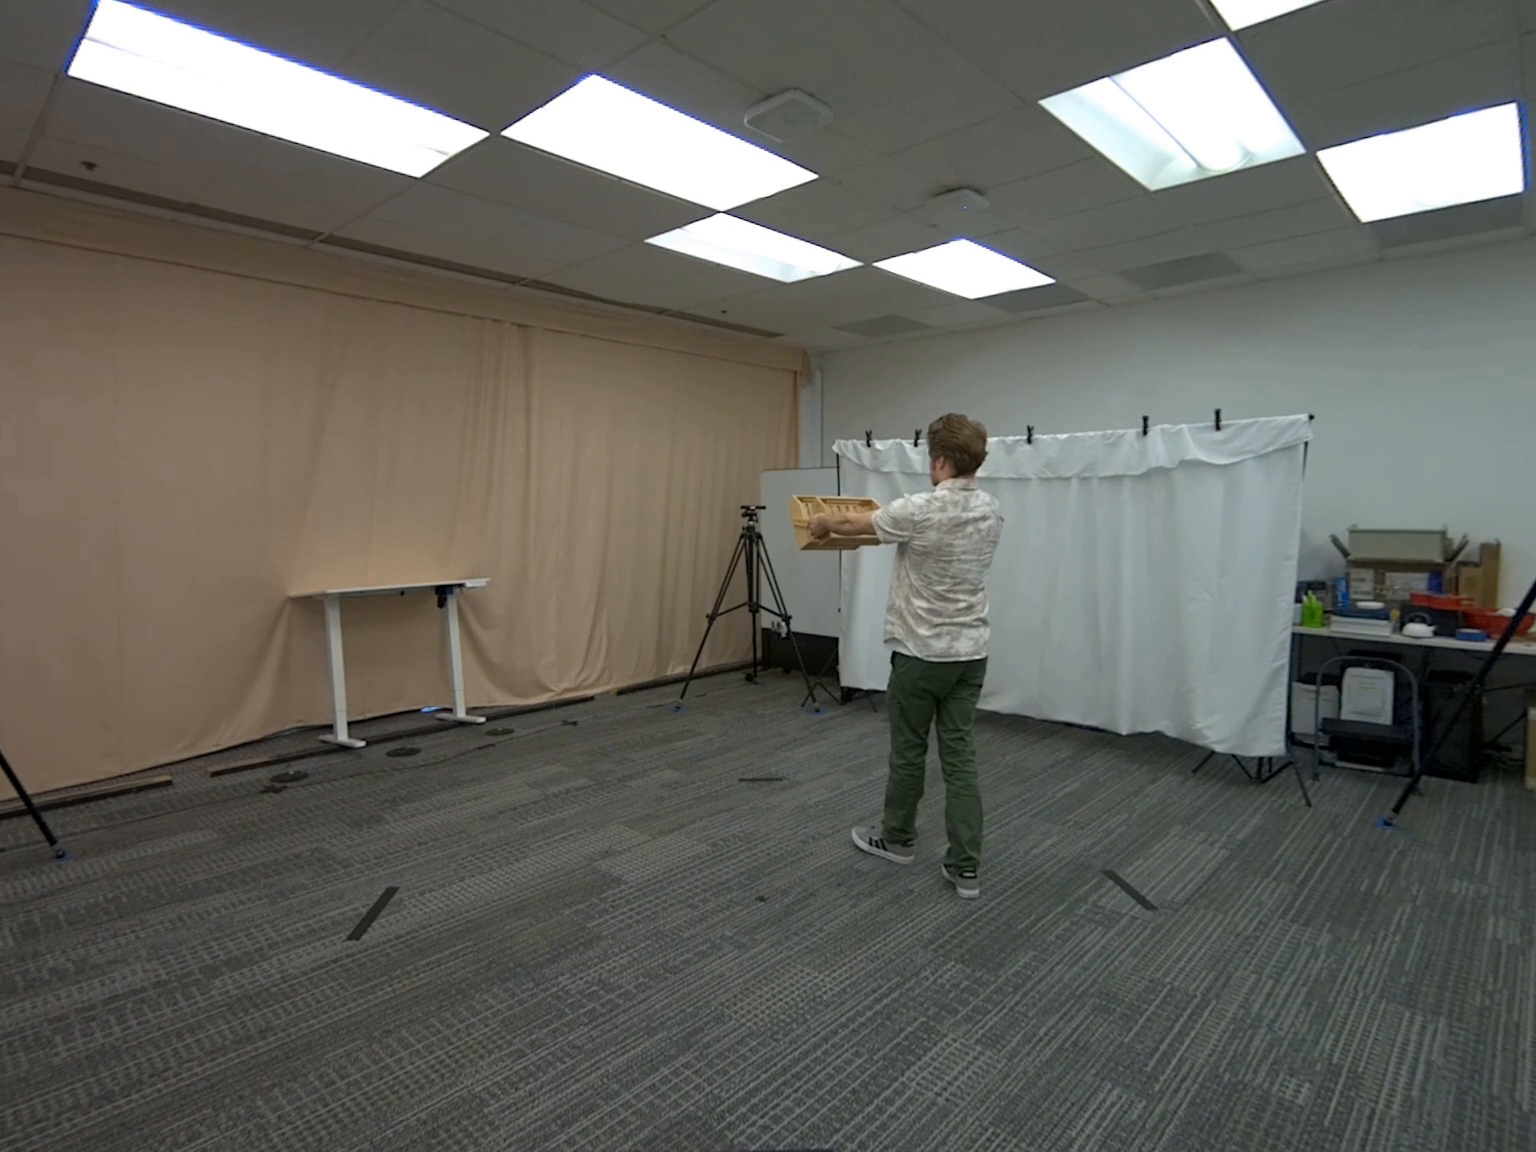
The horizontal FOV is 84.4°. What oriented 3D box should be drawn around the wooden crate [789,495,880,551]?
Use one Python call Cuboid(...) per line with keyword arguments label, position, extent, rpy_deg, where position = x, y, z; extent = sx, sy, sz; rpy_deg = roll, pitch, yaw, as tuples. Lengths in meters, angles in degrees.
Cuboid(label="wooden crate", position=(0.317, -0.258, 3.724), extent=(0.316, 0.307, 0.276), rpy_deg=(-1, -22, -28))
